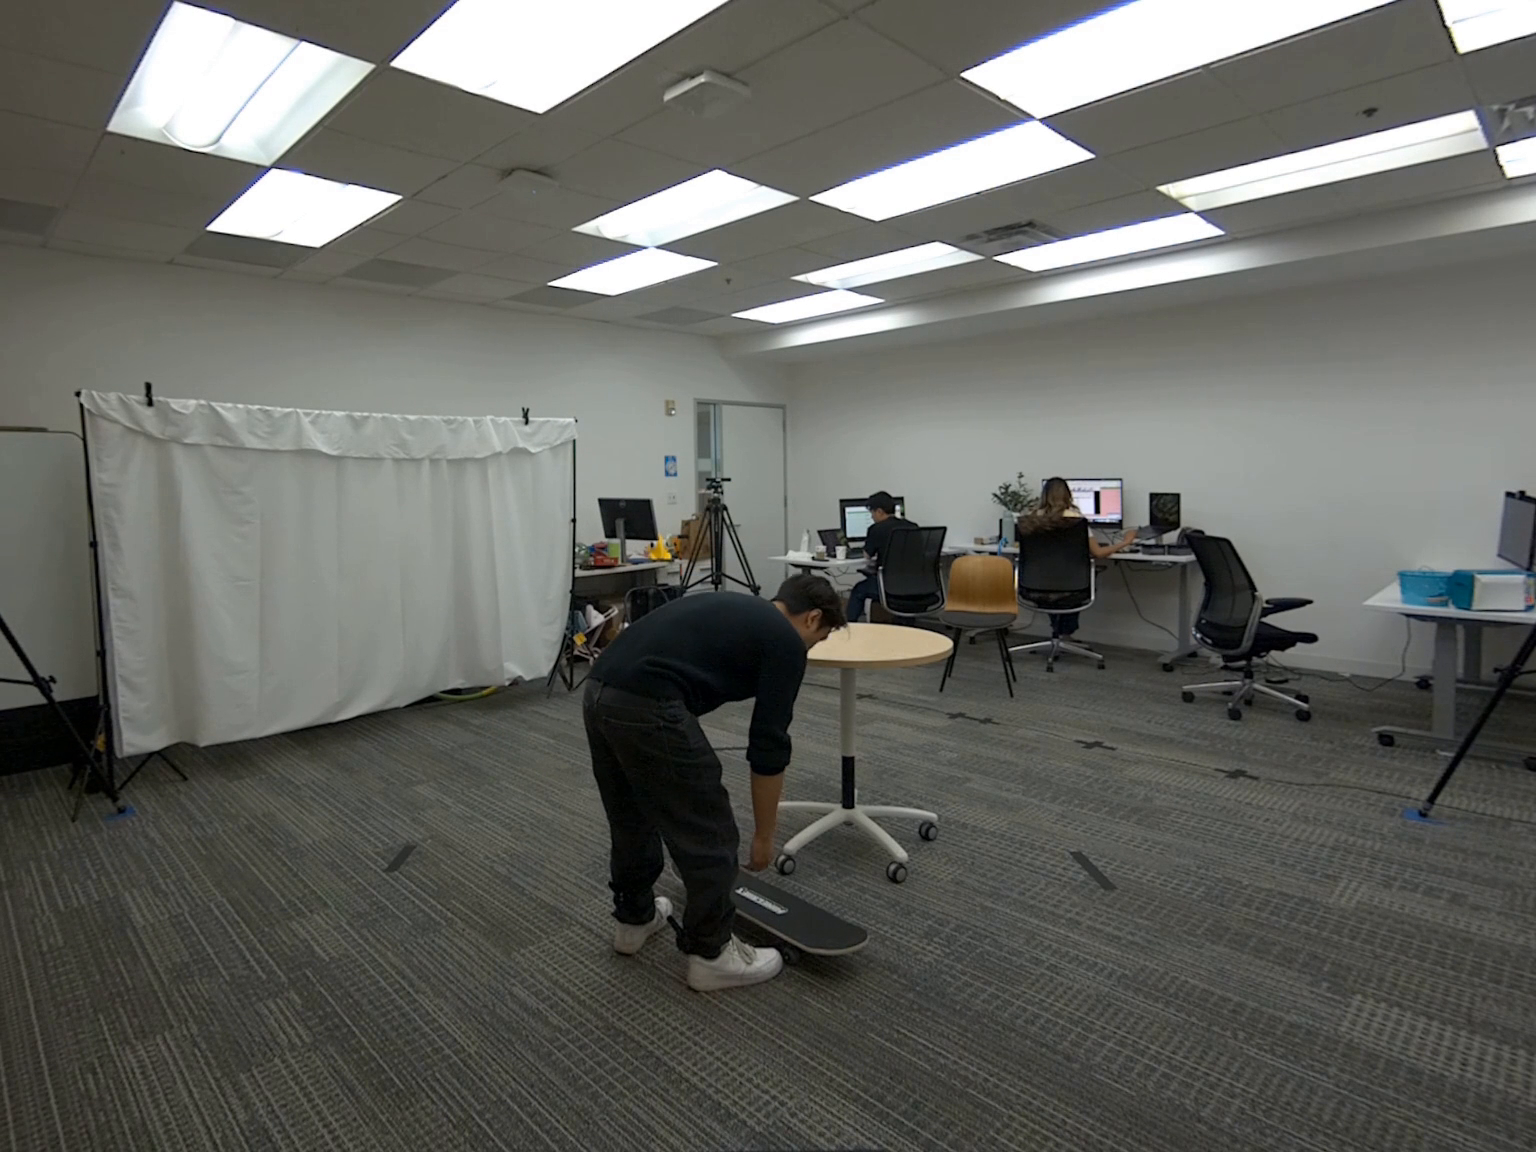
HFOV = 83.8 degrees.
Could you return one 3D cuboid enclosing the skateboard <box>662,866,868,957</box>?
[{"bbox_3d":[-0.016,1.045,2.644,0.188,0.110,0.810,-7,9,-43],"label":"skateboard"}]
